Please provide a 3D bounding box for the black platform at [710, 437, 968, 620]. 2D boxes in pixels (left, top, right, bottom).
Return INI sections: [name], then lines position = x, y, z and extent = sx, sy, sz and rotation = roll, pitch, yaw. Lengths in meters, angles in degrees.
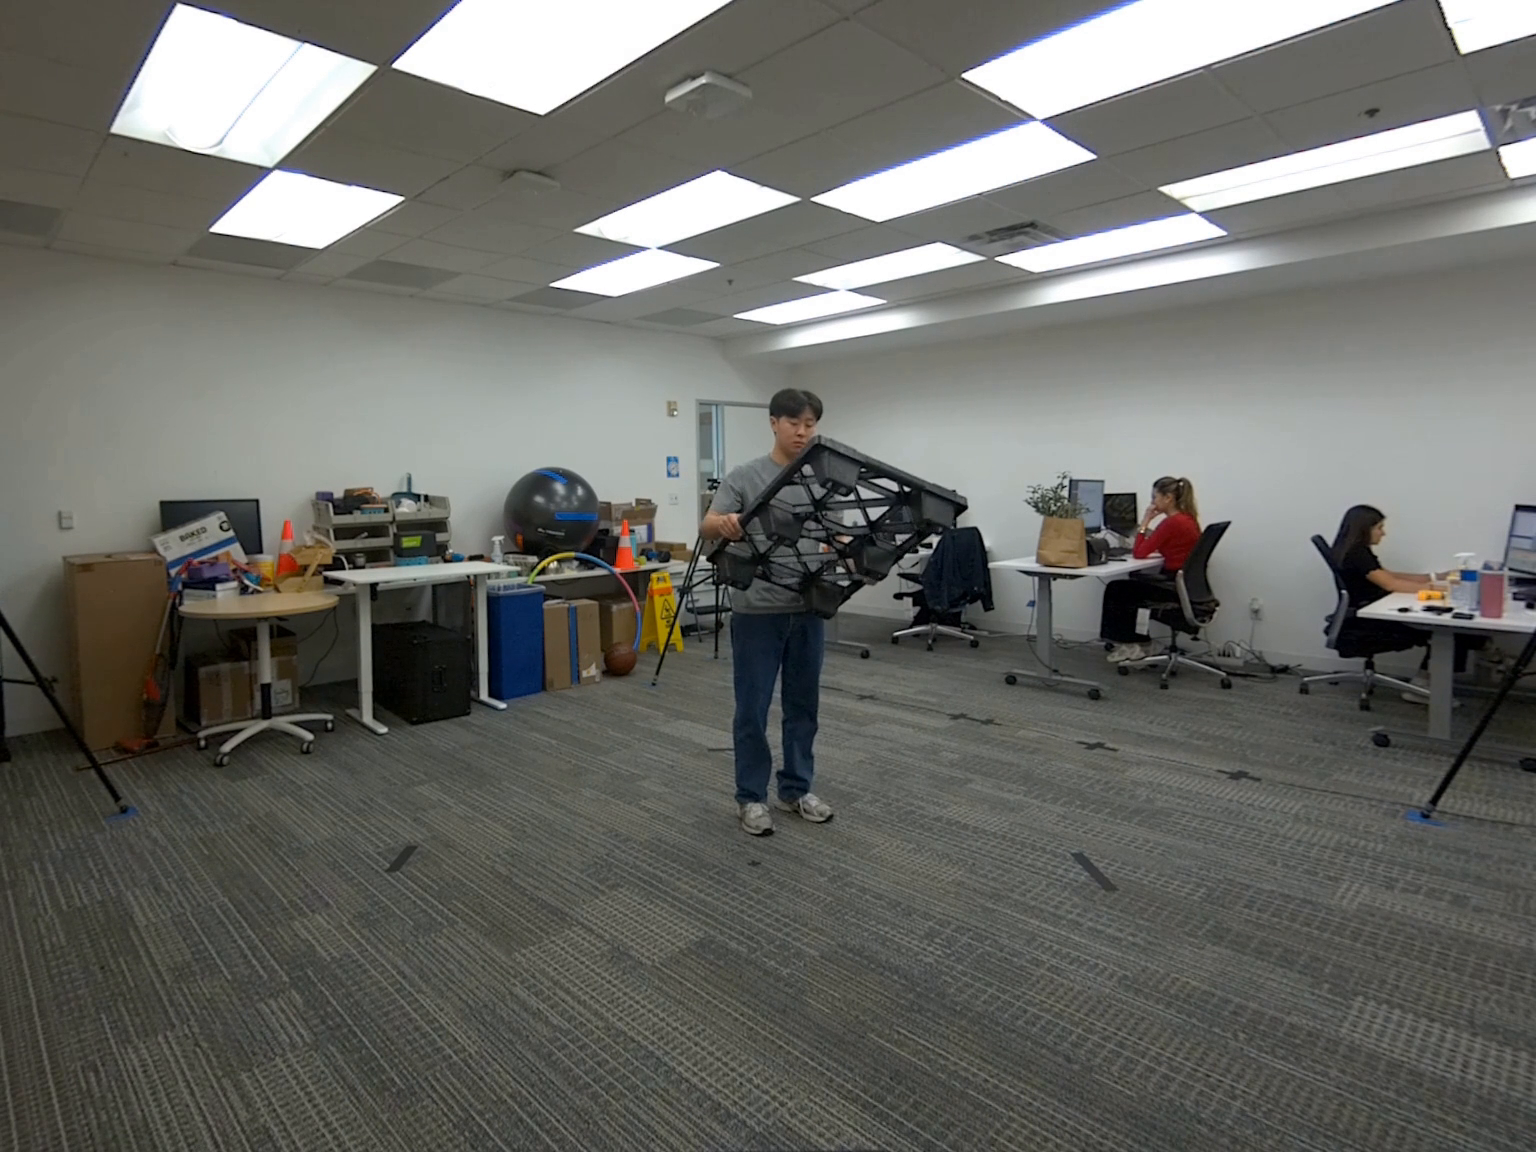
[black platform]
position = 0.218, -0.124, 3.004
extent = 0.592, 0.146, 0.805
rotation = 20, -37, -20
